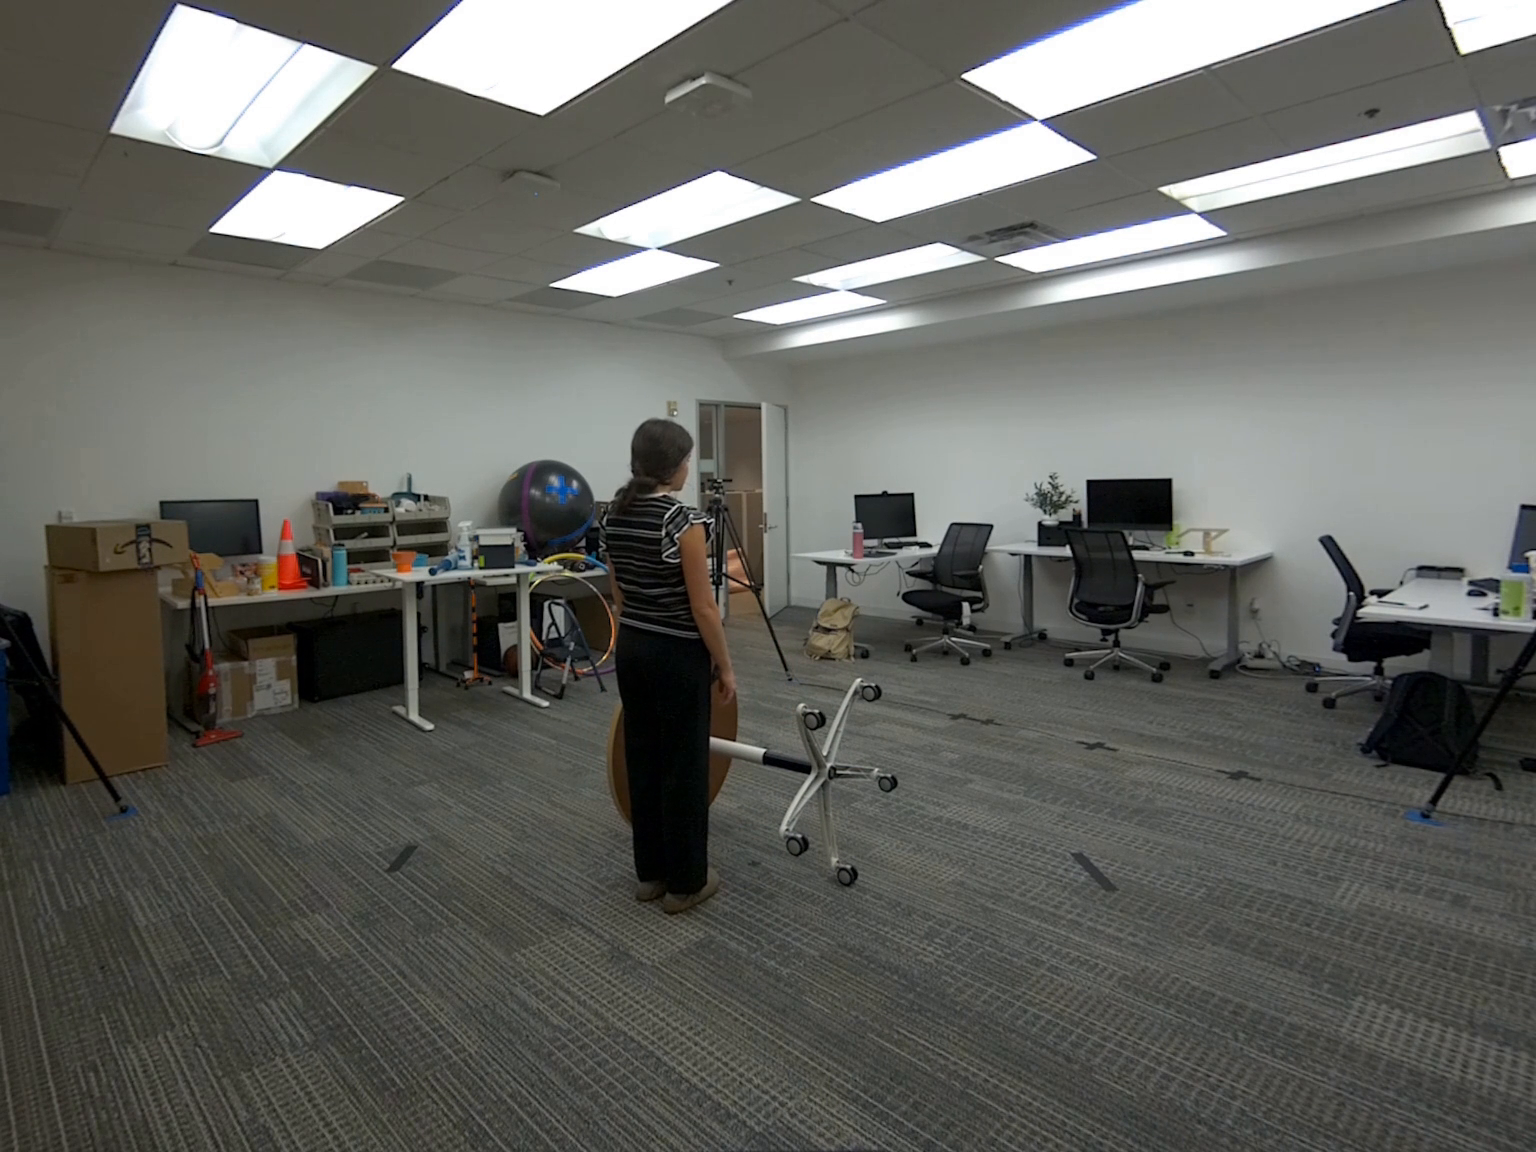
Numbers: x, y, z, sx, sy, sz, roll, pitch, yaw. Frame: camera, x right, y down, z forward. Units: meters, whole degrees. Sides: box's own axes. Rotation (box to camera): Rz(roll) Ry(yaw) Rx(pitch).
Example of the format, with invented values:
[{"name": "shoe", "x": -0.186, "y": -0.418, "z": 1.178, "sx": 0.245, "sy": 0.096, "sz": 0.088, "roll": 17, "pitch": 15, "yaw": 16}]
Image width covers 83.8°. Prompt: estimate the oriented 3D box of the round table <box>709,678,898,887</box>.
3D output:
[{"name": "round table", "x": -0.038, "y": 0.667, "z": 3.146, "sx": 0.817, "sy": 0.760, "sz": 0.745, "roll": 4, "pitch": 7, "yaw": 36}]
